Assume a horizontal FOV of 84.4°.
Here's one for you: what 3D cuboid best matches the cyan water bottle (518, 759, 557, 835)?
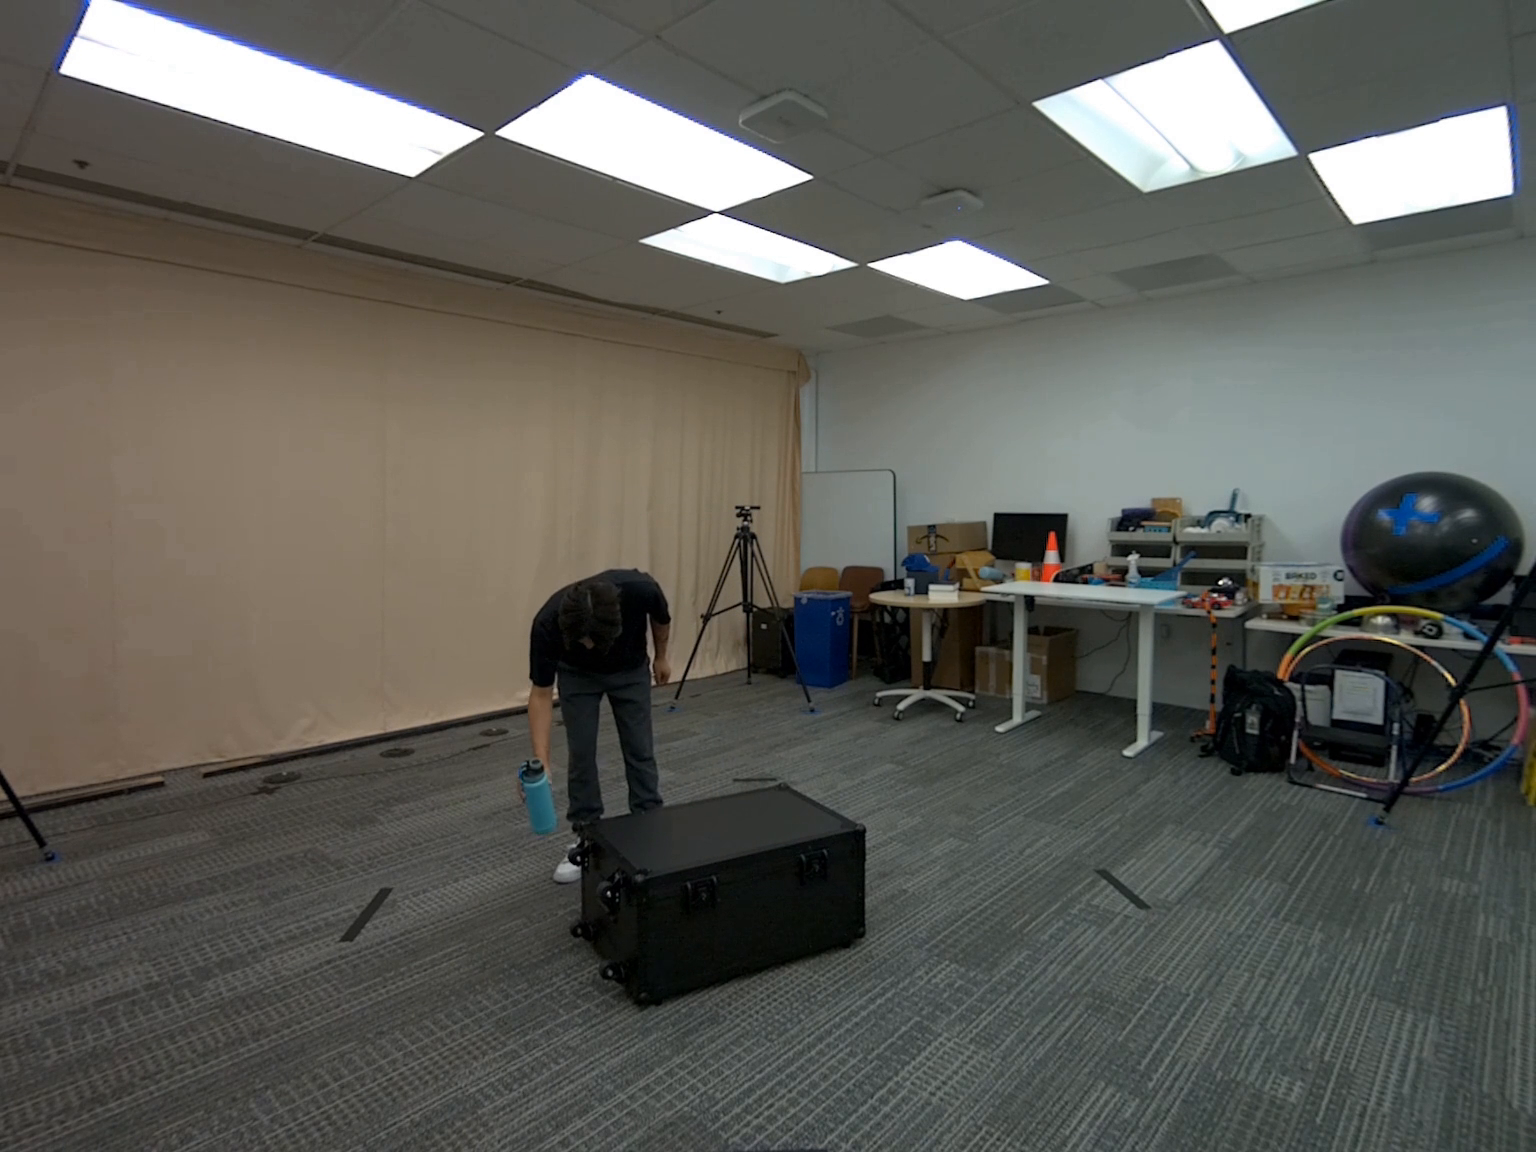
[{"bbox_3d":[-0.783,0.744,2.868,0.092,0.278,0.094,-5,28,1],"label":"cyan water bottle"}]
